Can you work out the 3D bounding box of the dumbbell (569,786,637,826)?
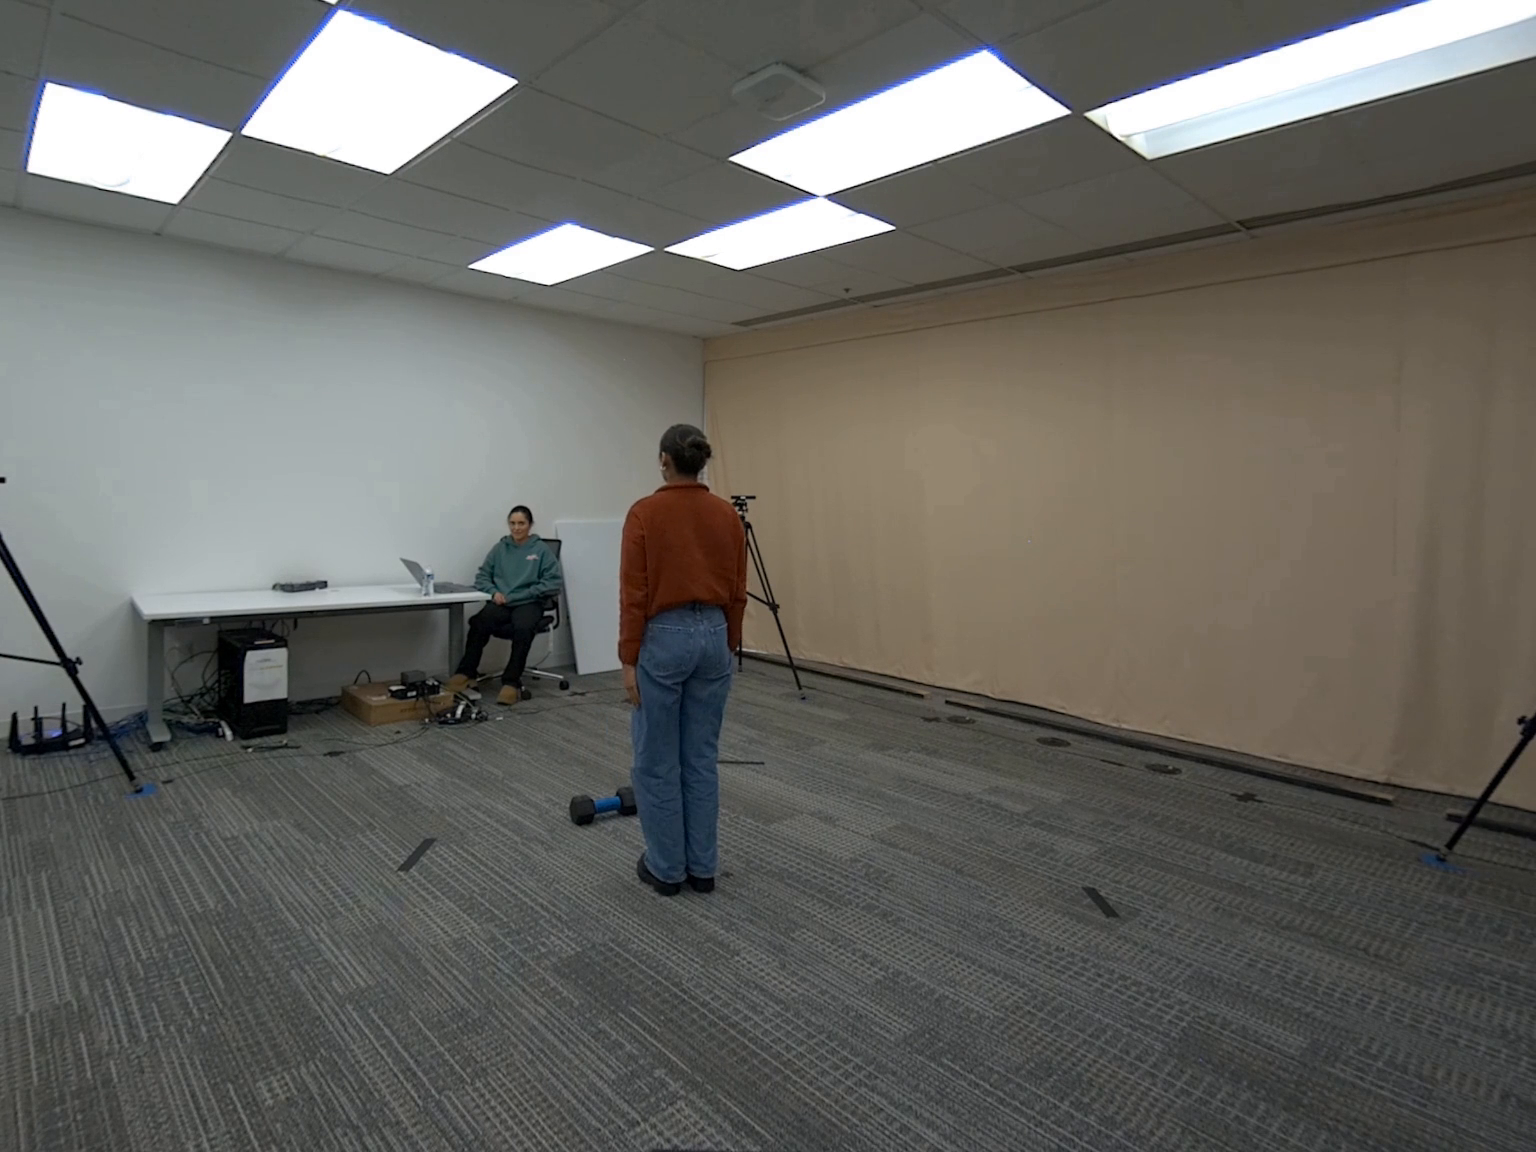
[{"bbox_3d":[-0.713,0.990,3.632,0.287,0.121,0.112,-2,35,-34],"label":"dumbbell"}]
